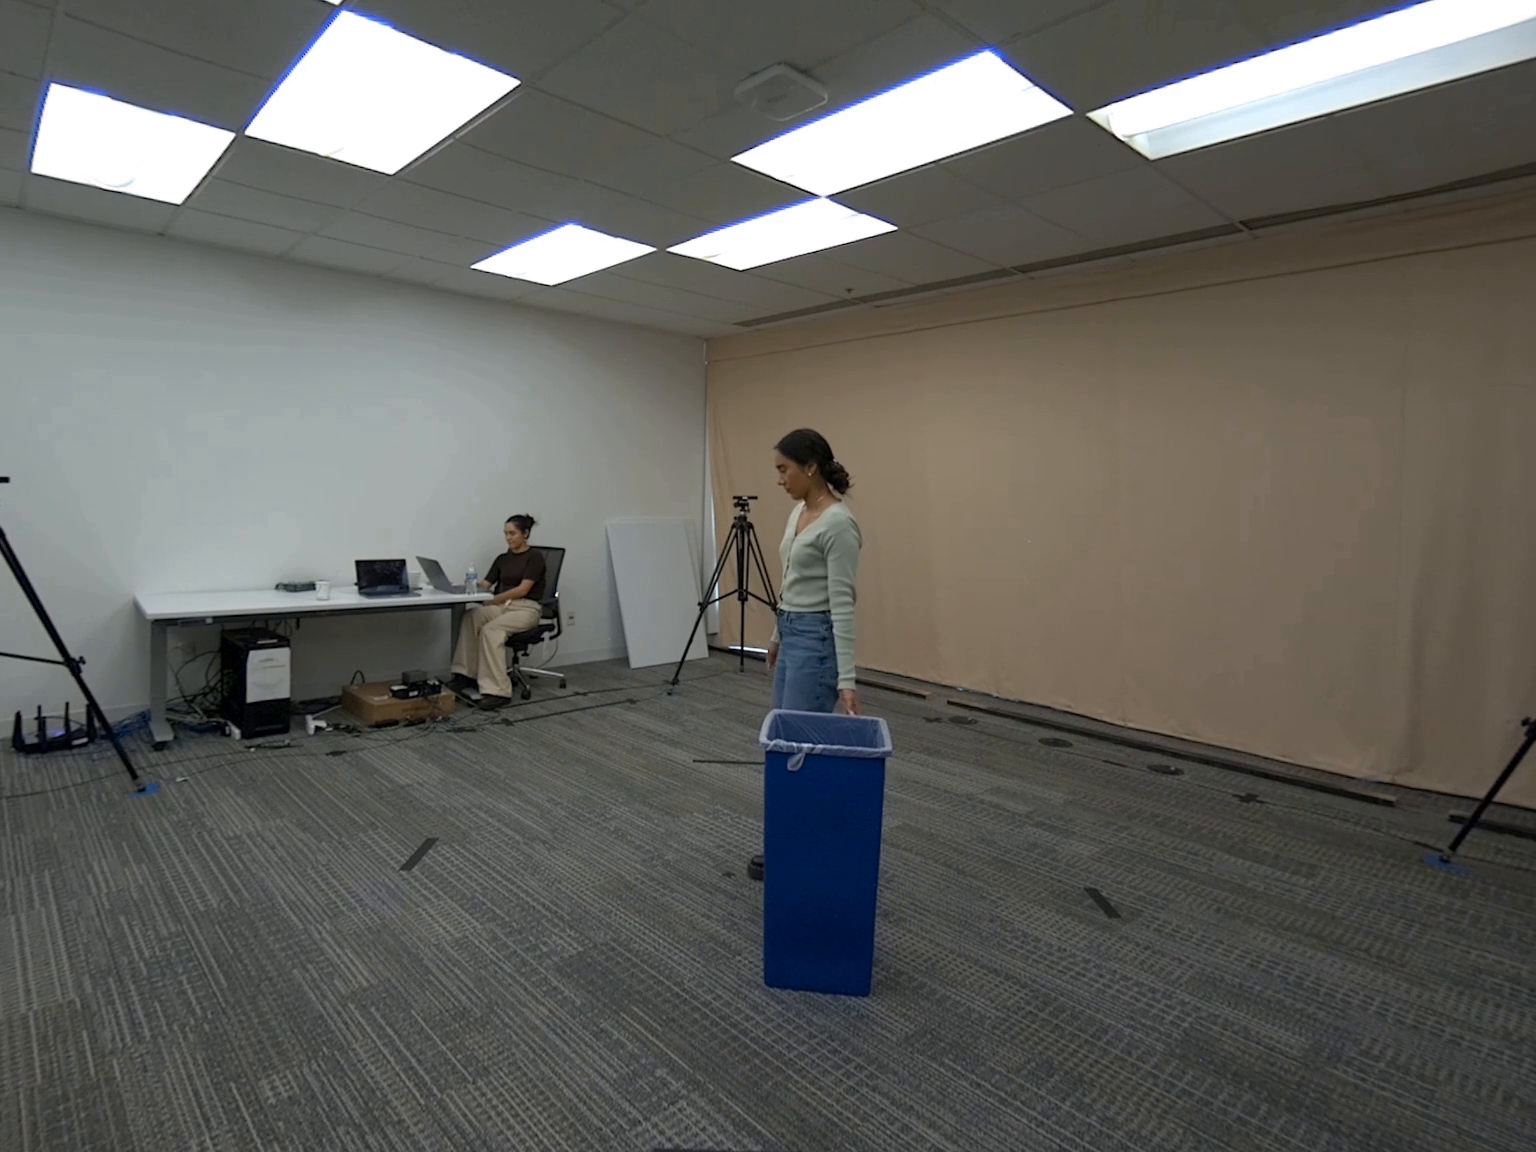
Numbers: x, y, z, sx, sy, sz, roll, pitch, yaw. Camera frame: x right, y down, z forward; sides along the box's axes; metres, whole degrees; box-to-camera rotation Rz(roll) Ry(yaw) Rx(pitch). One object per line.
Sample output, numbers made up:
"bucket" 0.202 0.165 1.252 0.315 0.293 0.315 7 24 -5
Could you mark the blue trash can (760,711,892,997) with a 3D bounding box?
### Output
"blue trash can" 0.150 0.808 2.512 0.380 0.712 0.373 2 4 6
